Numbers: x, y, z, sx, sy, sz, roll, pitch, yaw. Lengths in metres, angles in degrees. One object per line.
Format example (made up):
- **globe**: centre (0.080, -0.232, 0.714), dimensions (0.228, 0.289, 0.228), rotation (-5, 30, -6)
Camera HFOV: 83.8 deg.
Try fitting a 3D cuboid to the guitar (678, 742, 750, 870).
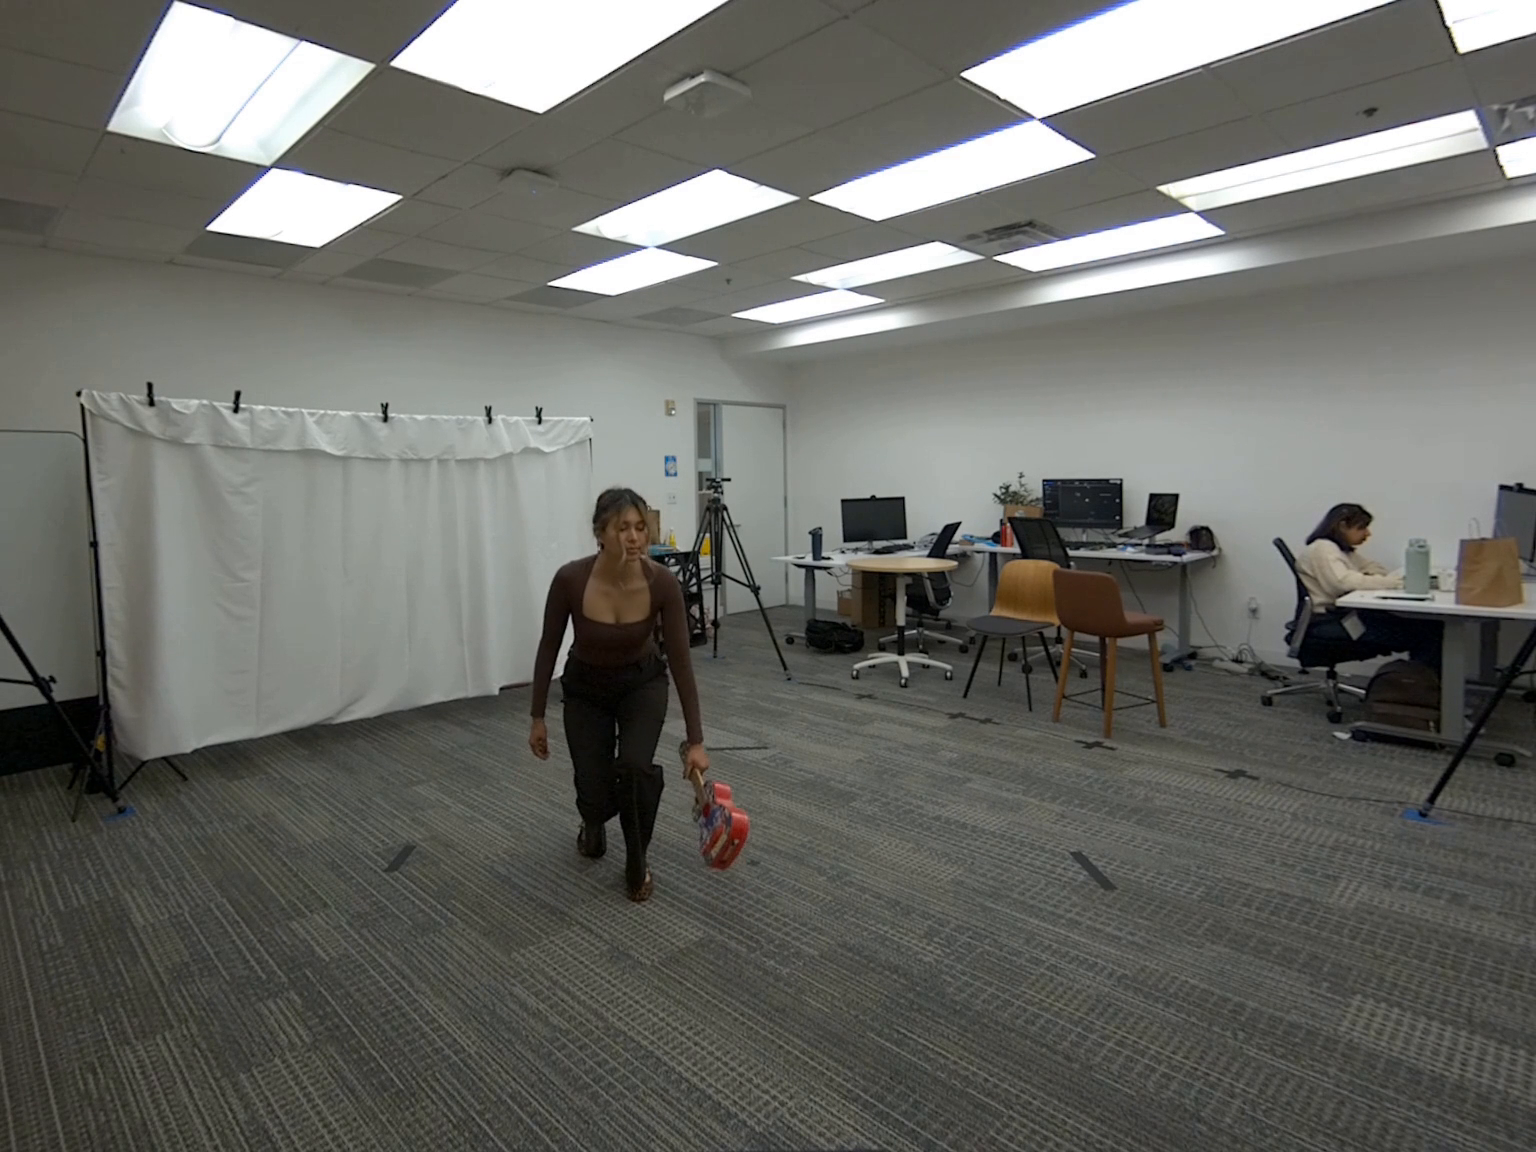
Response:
- **guitar**: centre (-0.180, 0.677, 2.739), dimensions (0.069, 0.192, 0.515), rotation (19, 28, -27)
